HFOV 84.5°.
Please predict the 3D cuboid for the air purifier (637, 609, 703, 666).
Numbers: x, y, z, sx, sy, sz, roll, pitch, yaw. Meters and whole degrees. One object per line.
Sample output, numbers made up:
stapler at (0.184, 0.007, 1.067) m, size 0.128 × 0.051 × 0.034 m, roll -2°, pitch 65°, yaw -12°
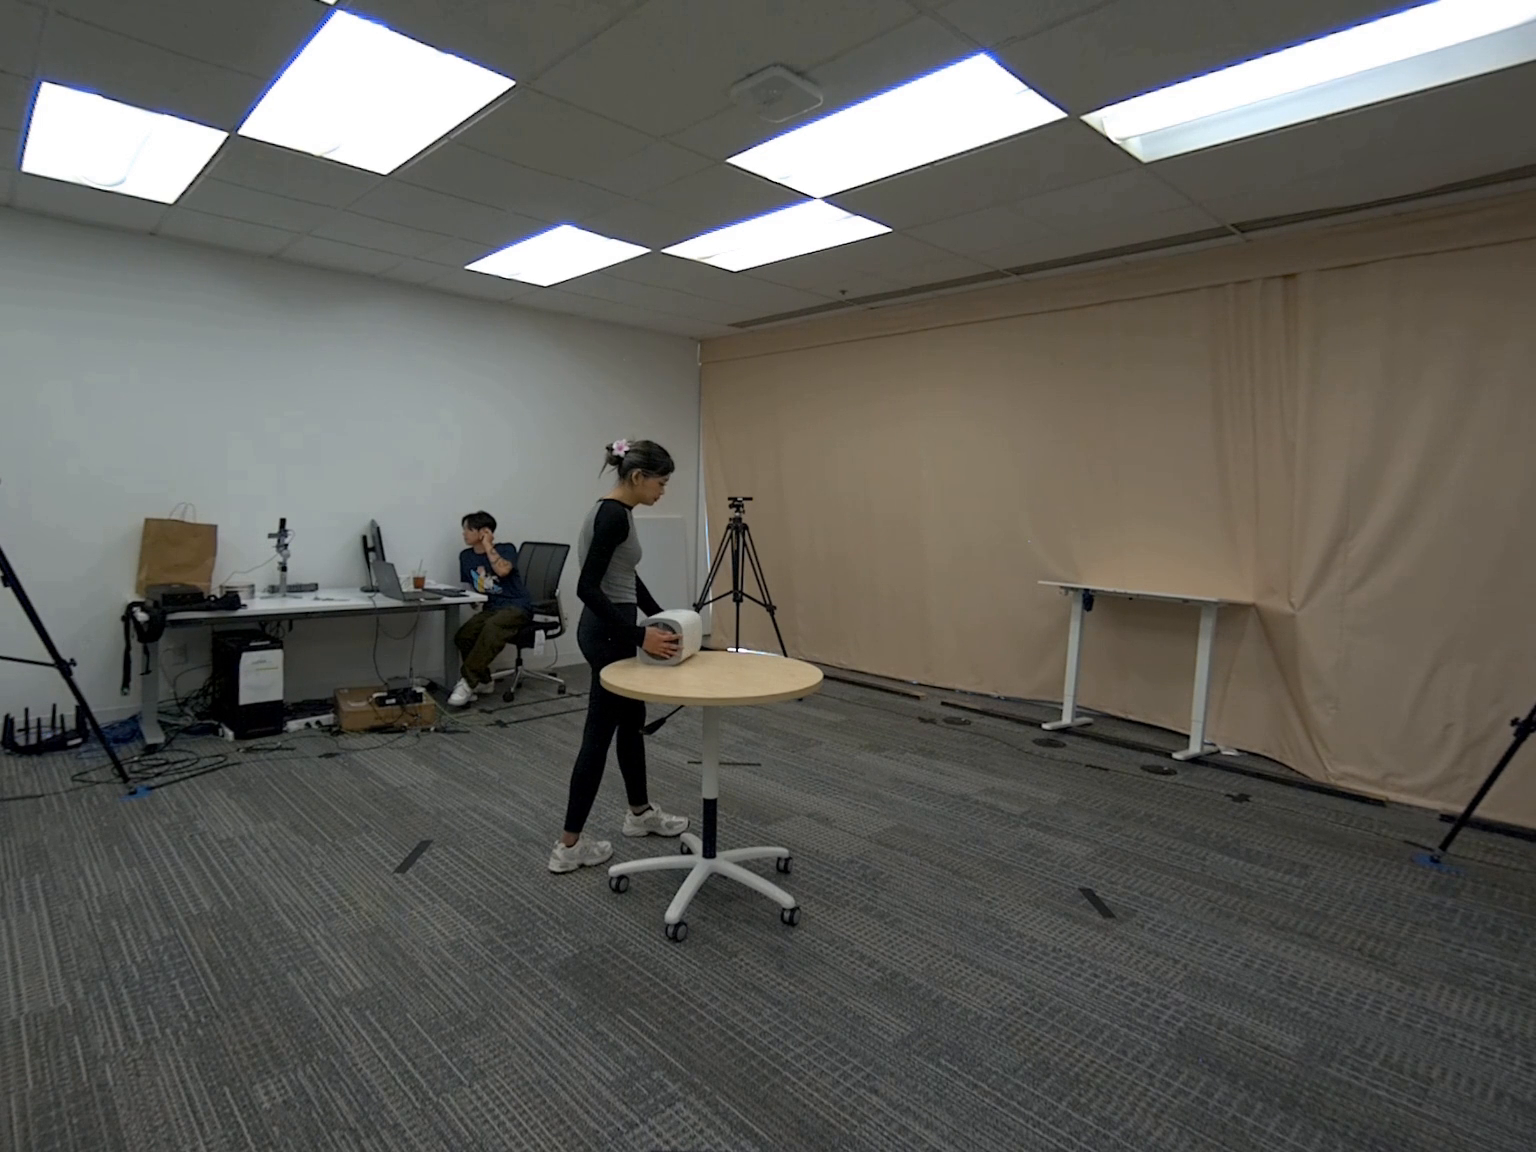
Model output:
air purifier at (-0.367, 0.223, 3.117) m, size 0.172 × 0.171 × 0.263 m, roll -1°, pitch 3°, yaw 11°
